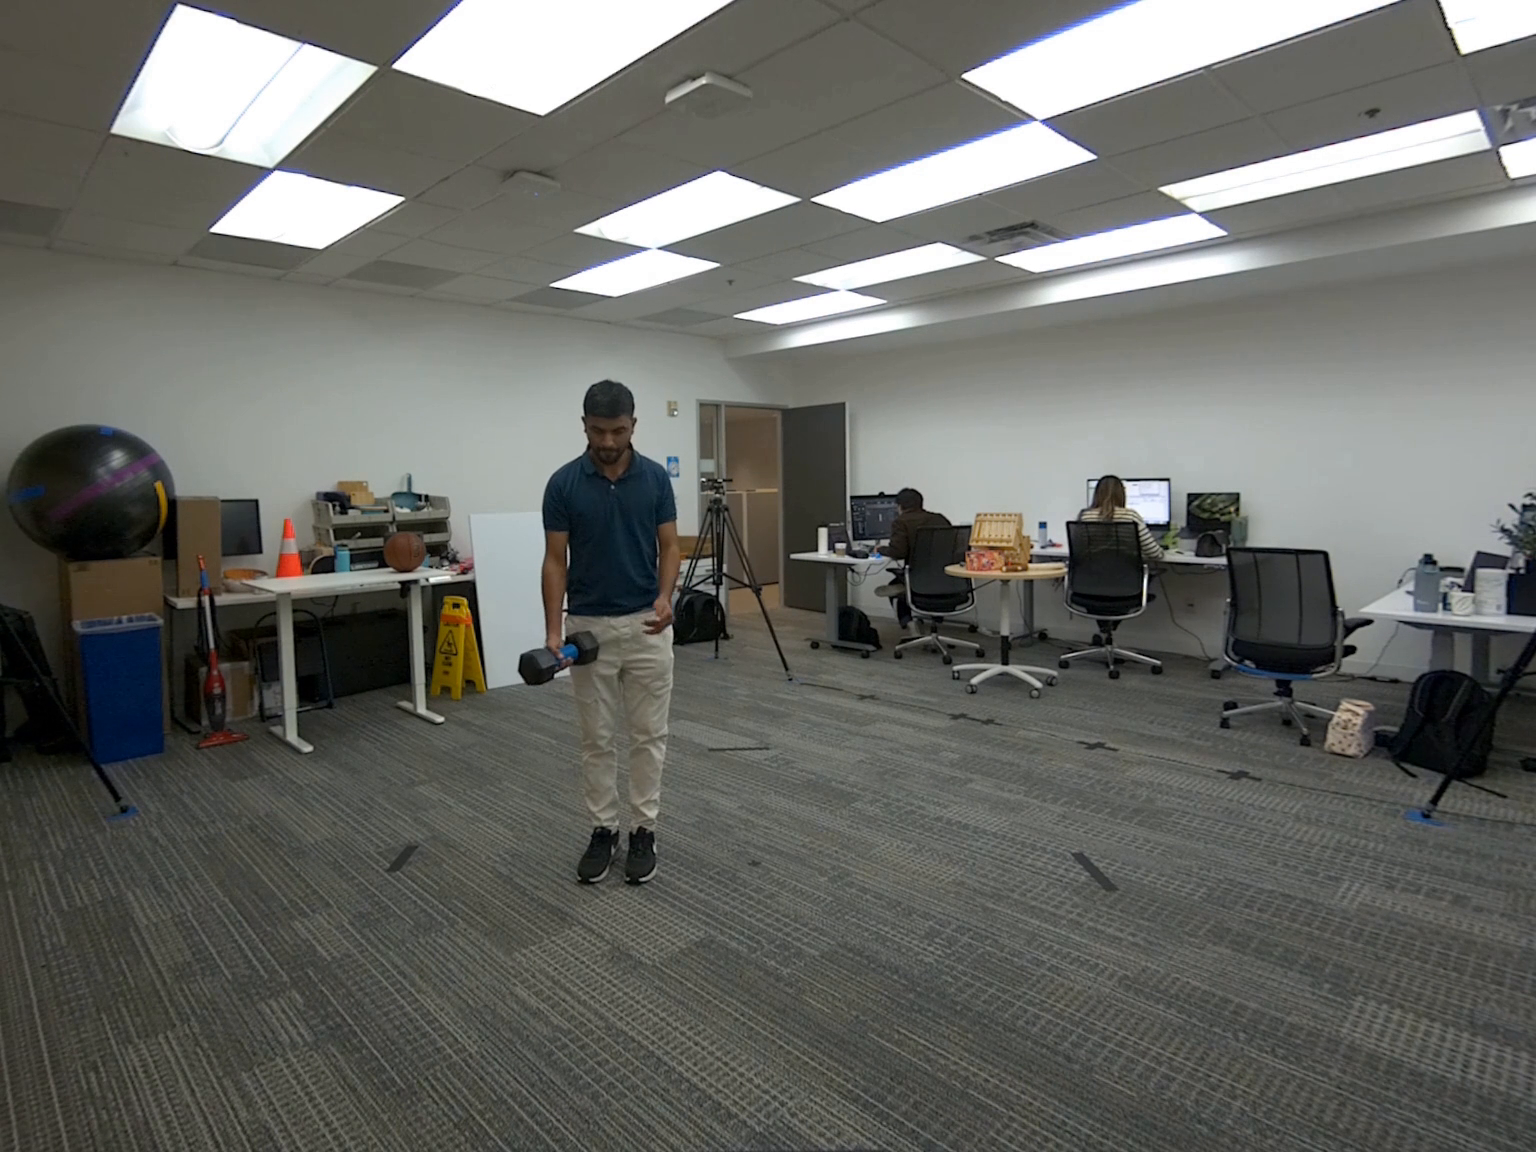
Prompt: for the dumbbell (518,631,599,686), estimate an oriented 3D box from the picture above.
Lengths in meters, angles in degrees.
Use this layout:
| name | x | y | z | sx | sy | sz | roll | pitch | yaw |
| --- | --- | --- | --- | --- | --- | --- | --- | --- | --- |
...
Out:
| name | x | y | z | sx | sy | sz | roll | pitch | yaw |
| --- | --- | --- | --- | --- | --- | --- | --- | --- | --- |
| dumbbell | -0.698 | 0.271 | 2.863 | 0.126 | 0.108 | 0.289 | -9 | 7 | 32 |
